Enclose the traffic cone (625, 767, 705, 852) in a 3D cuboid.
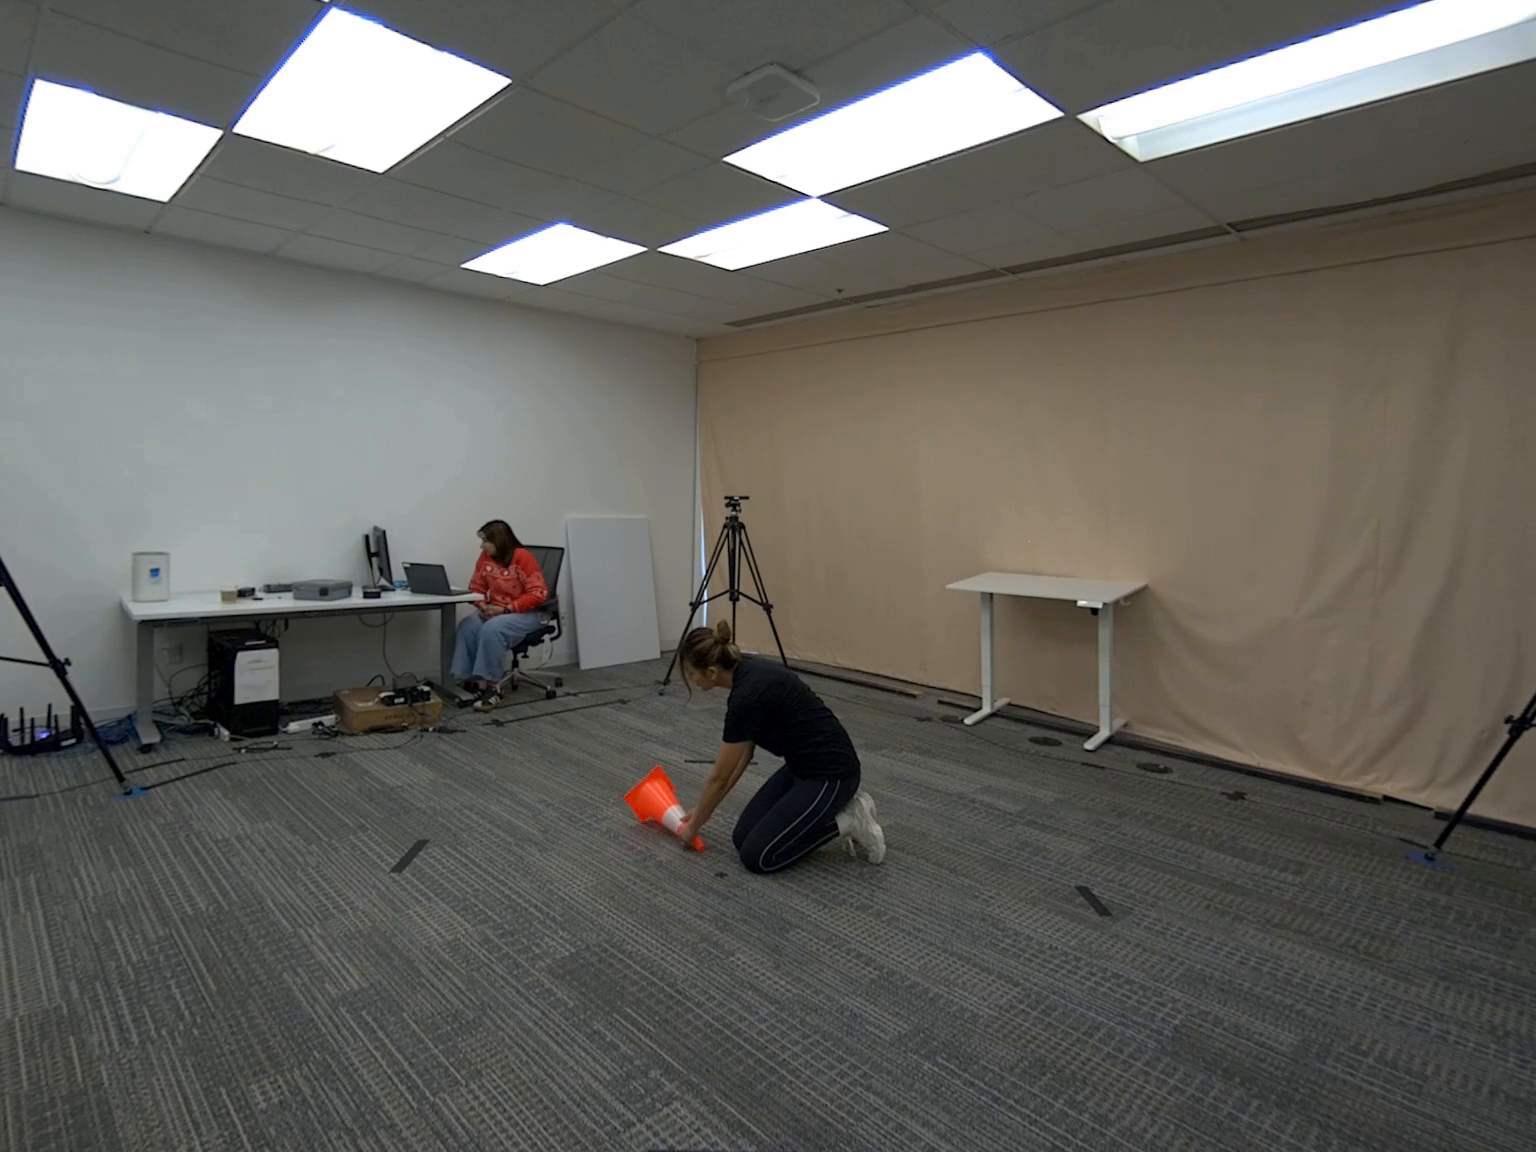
[{"bbox_3d":[-0.381,0.986,3.438,0.203,0.199,0.396,-40,40,-20],"label":"traffic cone"}]
